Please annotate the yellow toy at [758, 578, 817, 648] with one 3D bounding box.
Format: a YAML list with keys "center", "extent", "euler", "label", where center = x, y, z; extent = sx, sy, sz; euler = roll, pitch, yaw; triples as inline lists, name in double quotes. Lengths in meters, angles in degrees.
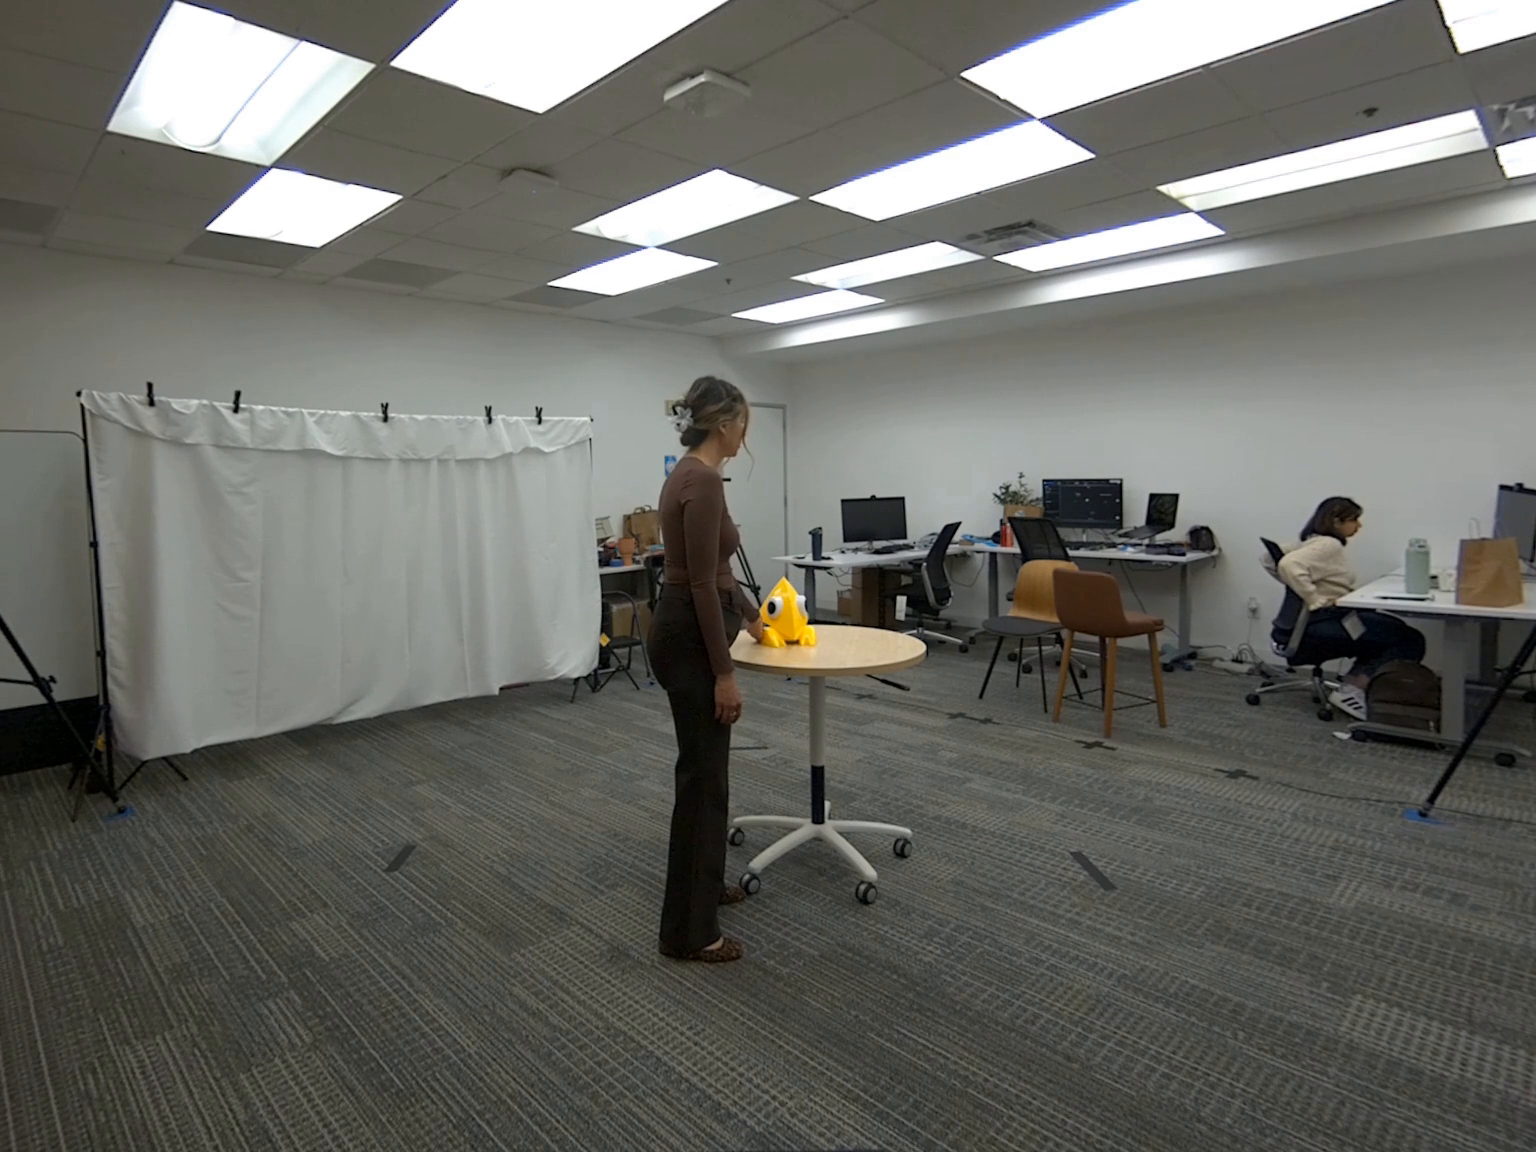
- center: [0.081, 0.125, 3.108]
  extent: [0.202, 0.230, 0.196]
  euler: [-2, 4, -13]
  label: "yellow toy"
